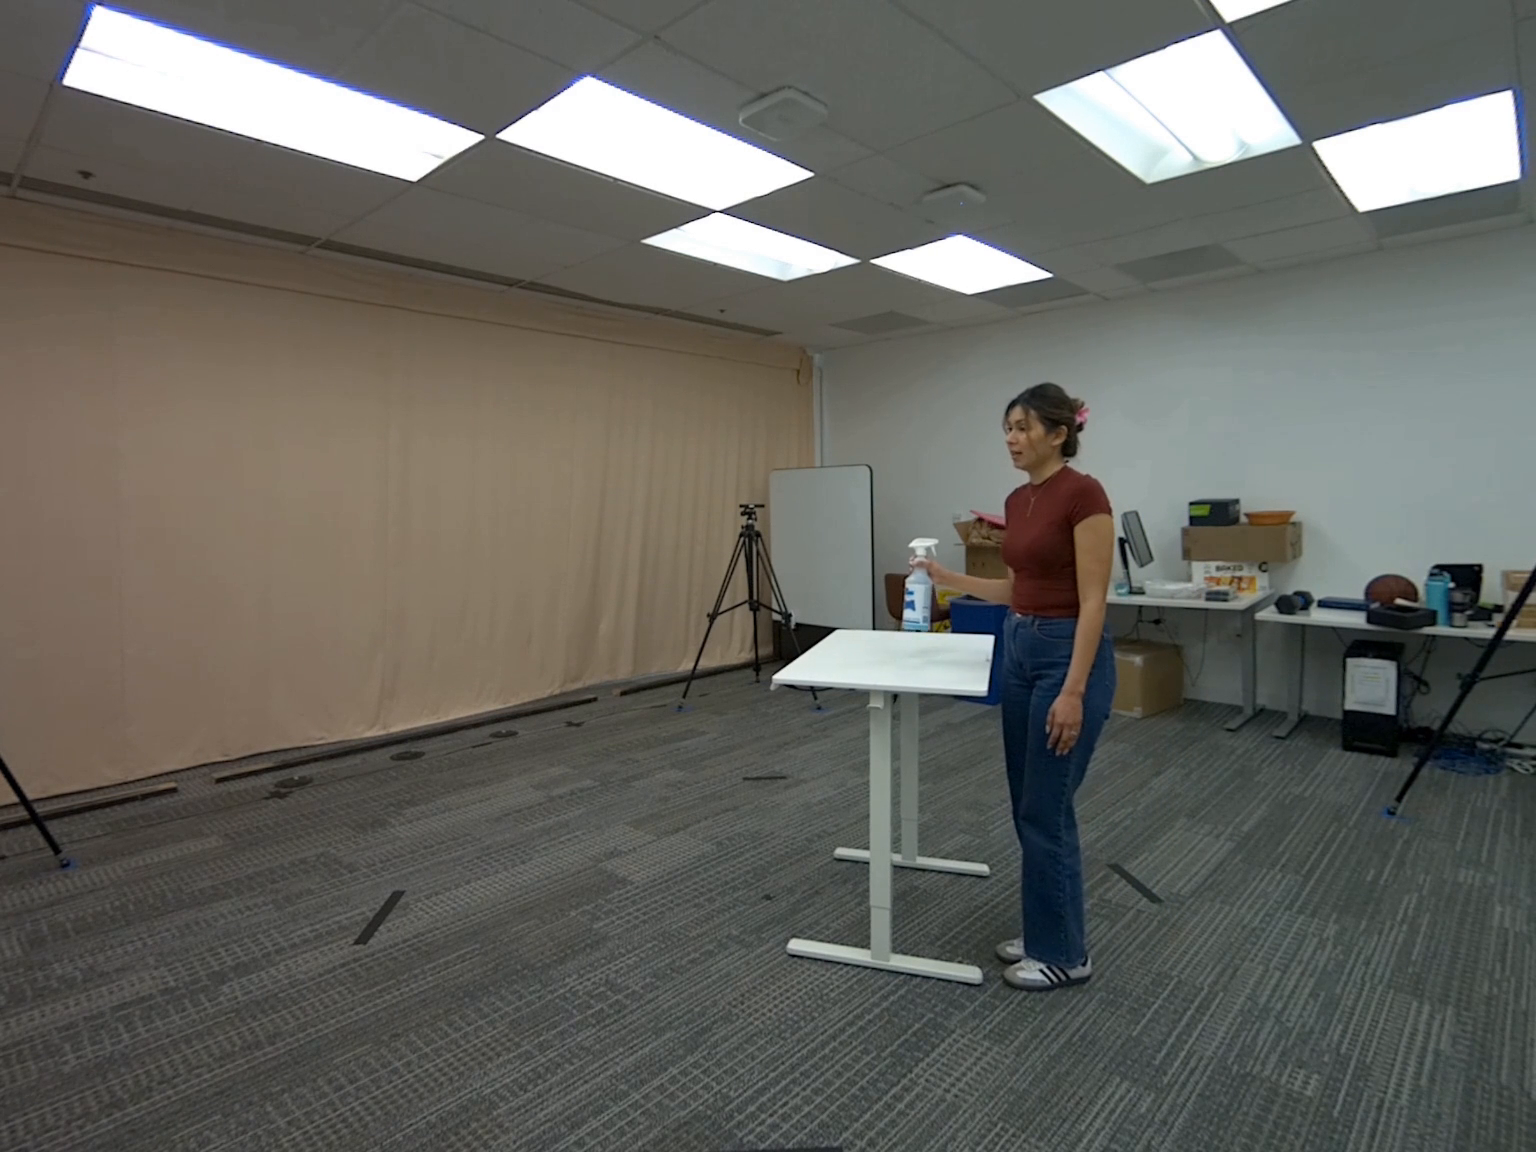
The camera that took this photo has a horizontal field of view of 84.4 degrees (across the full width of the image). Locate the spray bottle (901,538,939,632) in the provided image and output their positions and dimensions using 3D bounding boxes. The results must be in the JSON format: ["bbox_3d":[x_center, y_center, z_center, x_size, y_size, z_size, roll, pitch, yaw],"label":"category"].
[{"bbox_3d":[0.503,0.031,2.720,0.093,0.297,0.084,5,1,29],"label":"spray bottle"}]
